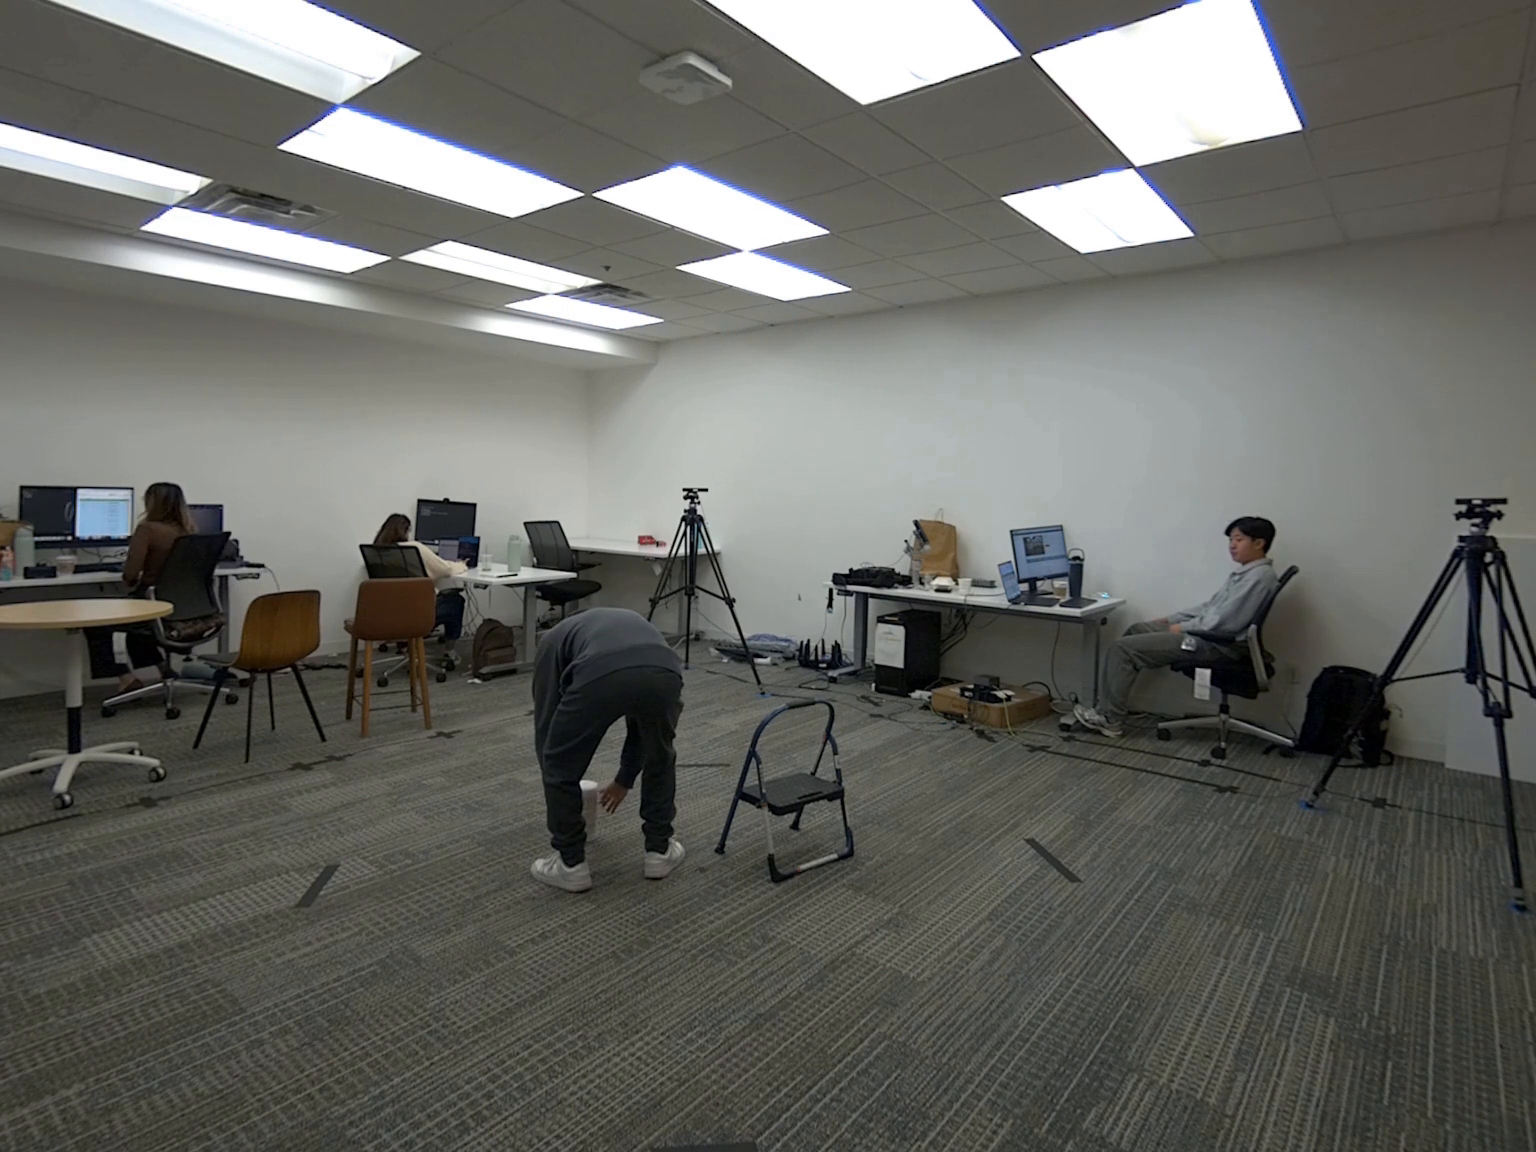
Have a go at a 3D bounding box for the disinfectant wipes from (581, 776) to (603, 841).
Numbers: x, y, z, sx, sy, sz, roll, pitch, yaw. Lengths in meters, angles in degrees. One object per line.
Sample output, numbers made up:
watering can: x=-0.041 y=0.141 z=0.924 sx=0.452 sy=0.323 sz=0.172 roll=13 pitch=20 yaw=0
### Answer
disinfectant wipes: x=-0.733 y=0.927 z=3.362 sx=0.118 sy=0.217 sz=0.118 roll=-1 pitch=3 yaw=-2
